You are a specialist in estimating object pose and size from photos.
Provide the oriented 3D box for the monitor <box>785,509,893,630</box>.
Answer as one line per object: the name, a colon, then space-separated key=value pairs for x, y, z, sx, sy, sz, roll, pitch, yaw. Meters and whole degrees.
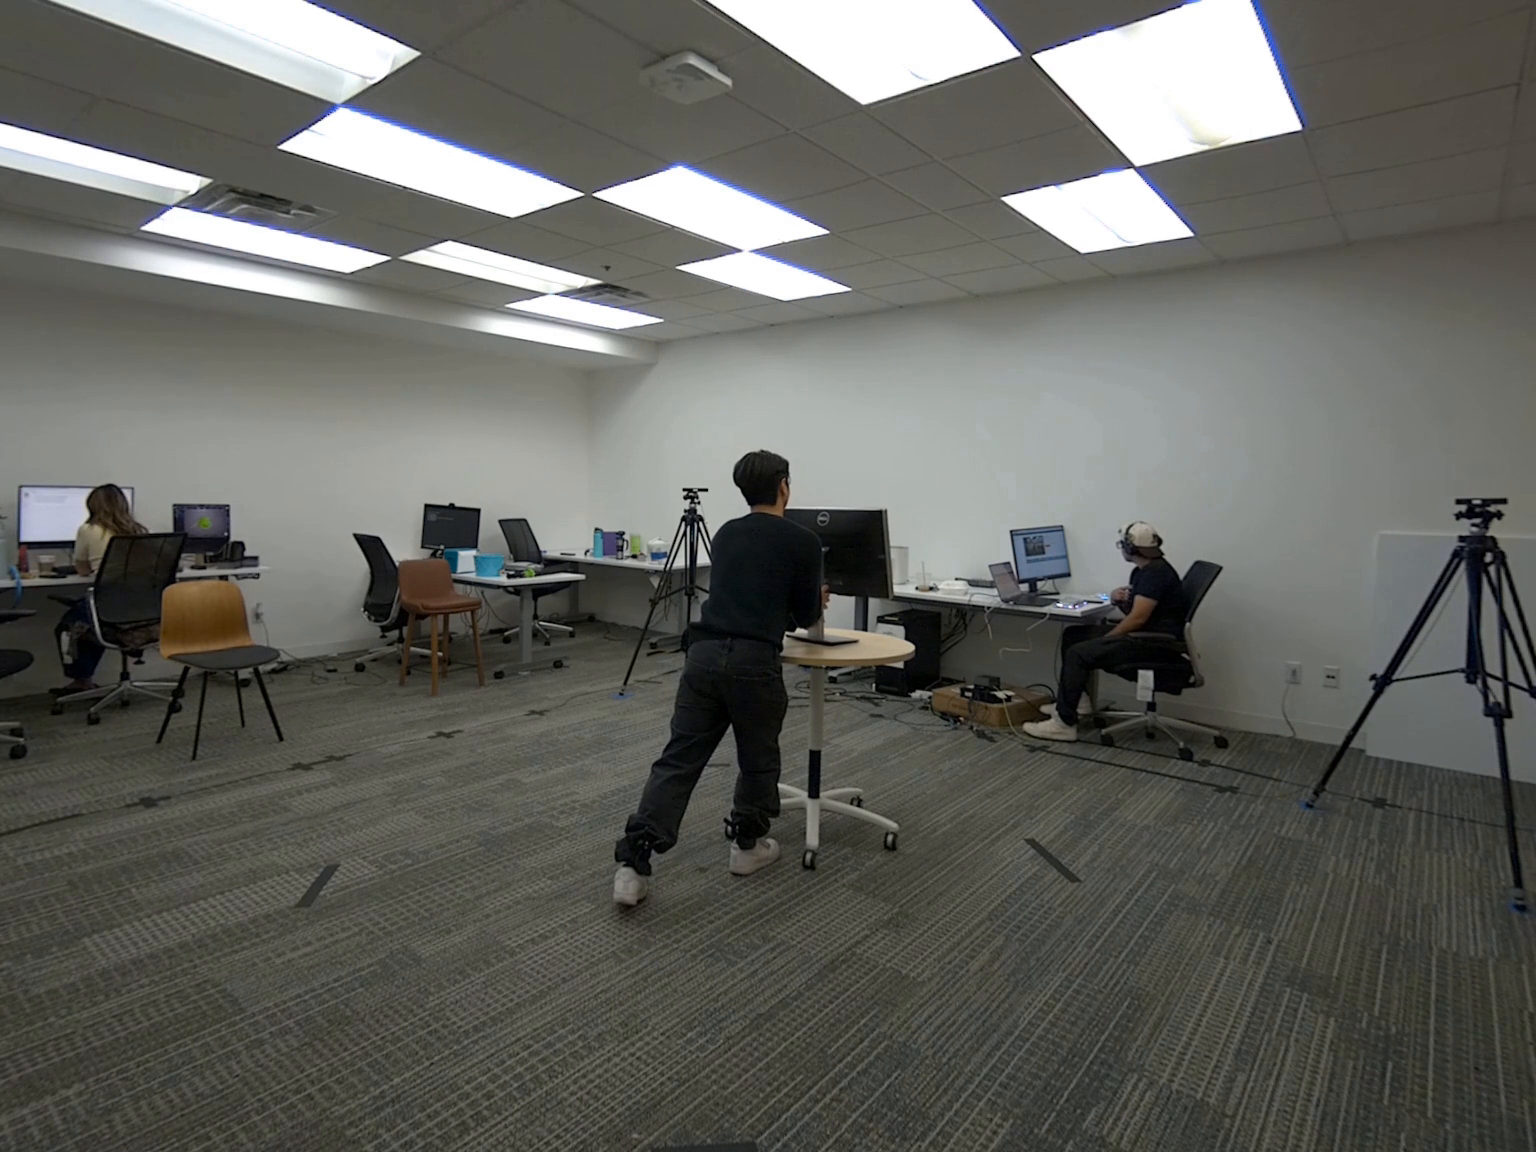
monitor: x=0.232 y=-0.015 z=3.486 sx=0.547 sy=0.517 sz=0.168 roll=2 pitch=-4 yaw=41
